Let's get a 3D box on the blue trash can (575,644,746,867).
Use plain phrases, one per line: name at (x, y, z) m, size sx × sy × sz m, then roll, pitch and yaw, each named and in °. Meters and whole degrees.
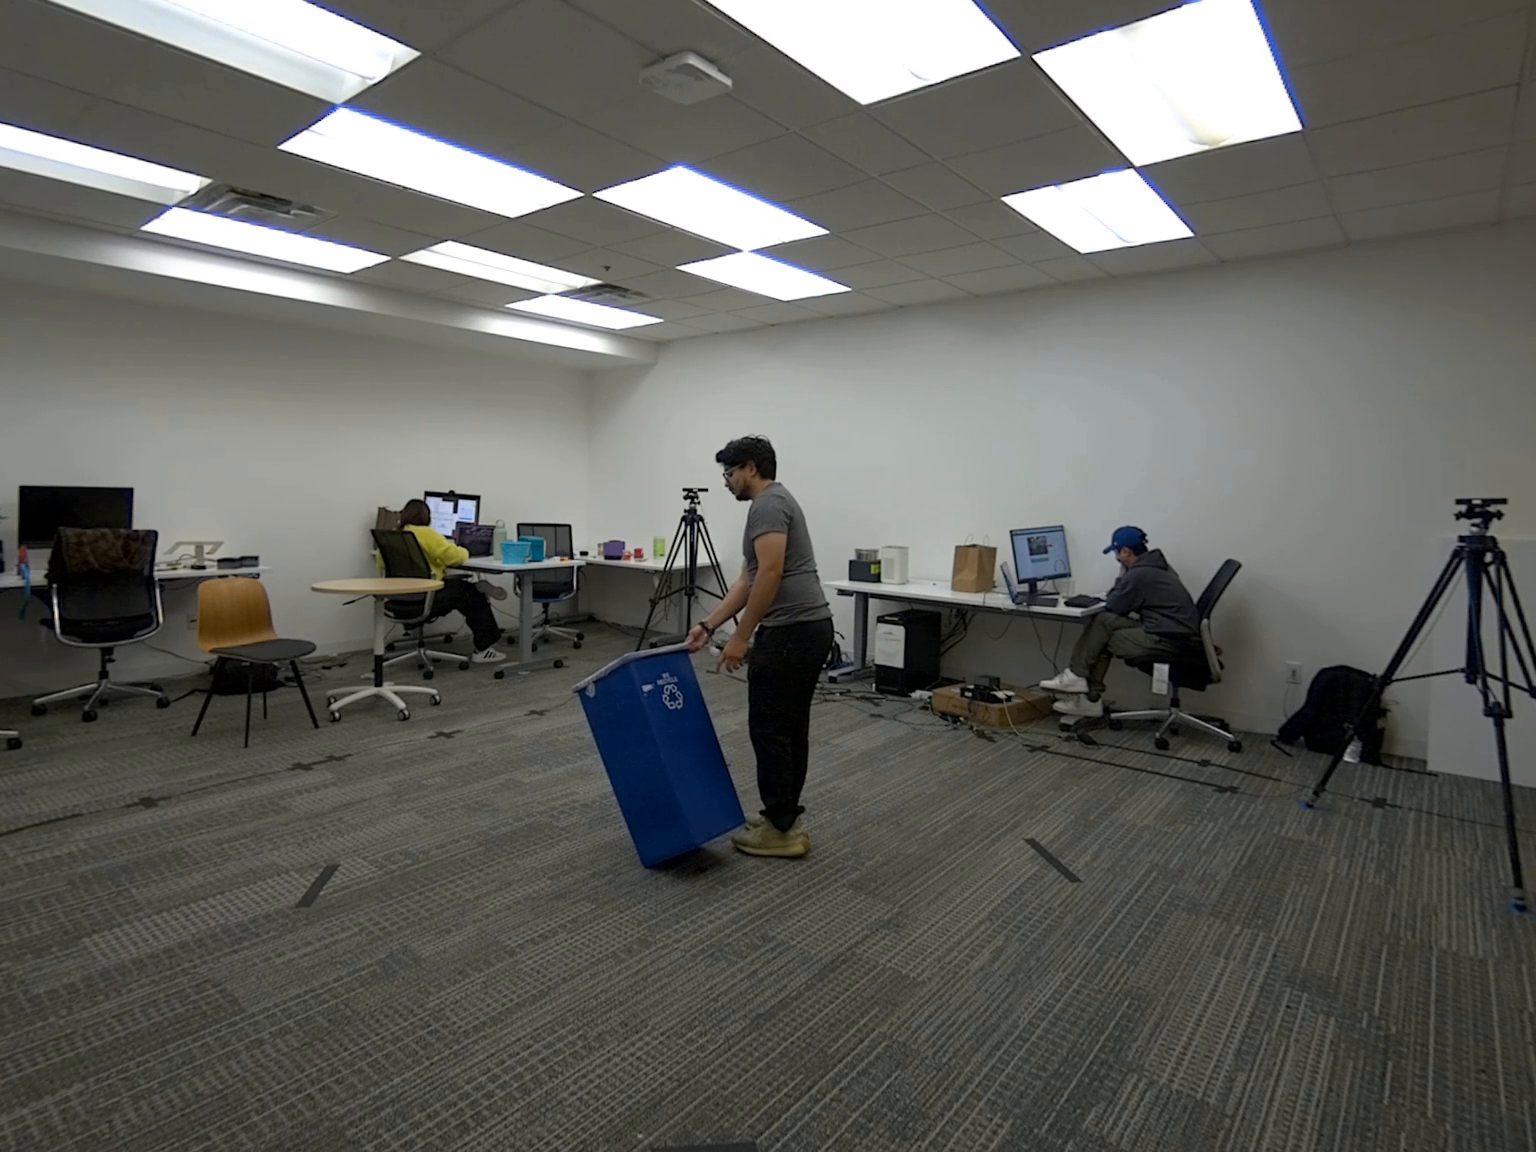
blue trash can at (-0.410, 0.666, 3.248) m, size 0.377 × 0.729 × 0.367 m, roll -34°, pitch -19°, yaw 32°
